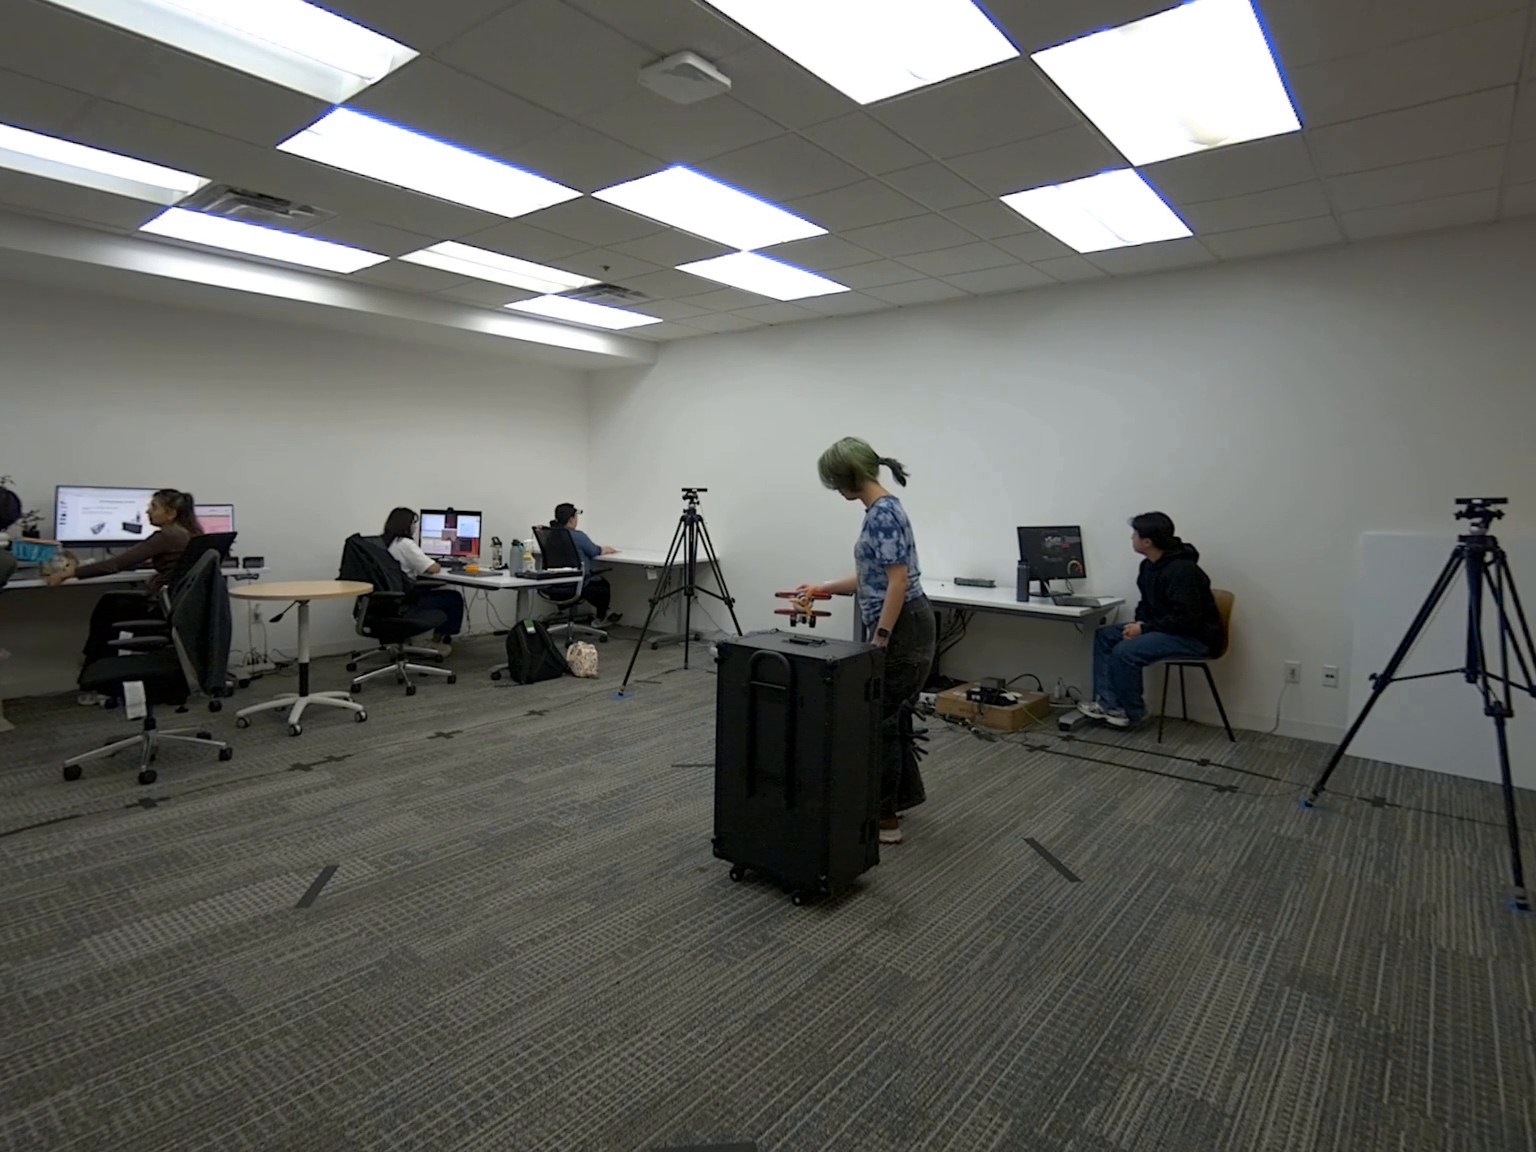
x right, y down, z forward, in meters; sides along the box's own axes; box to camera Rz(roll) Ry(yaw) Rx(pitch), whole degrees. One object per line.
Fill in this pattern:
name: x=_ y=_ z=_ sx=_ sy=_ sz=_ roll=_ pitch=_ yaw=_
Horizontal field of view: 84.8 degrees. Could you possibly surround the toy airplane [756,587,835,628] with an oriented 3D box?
toy airplane: x=0.122 y=0.140 z=3.837 sx=0.244 sy=0.156 sz=0.266 roll=2 pitch=2 yaw=-27
